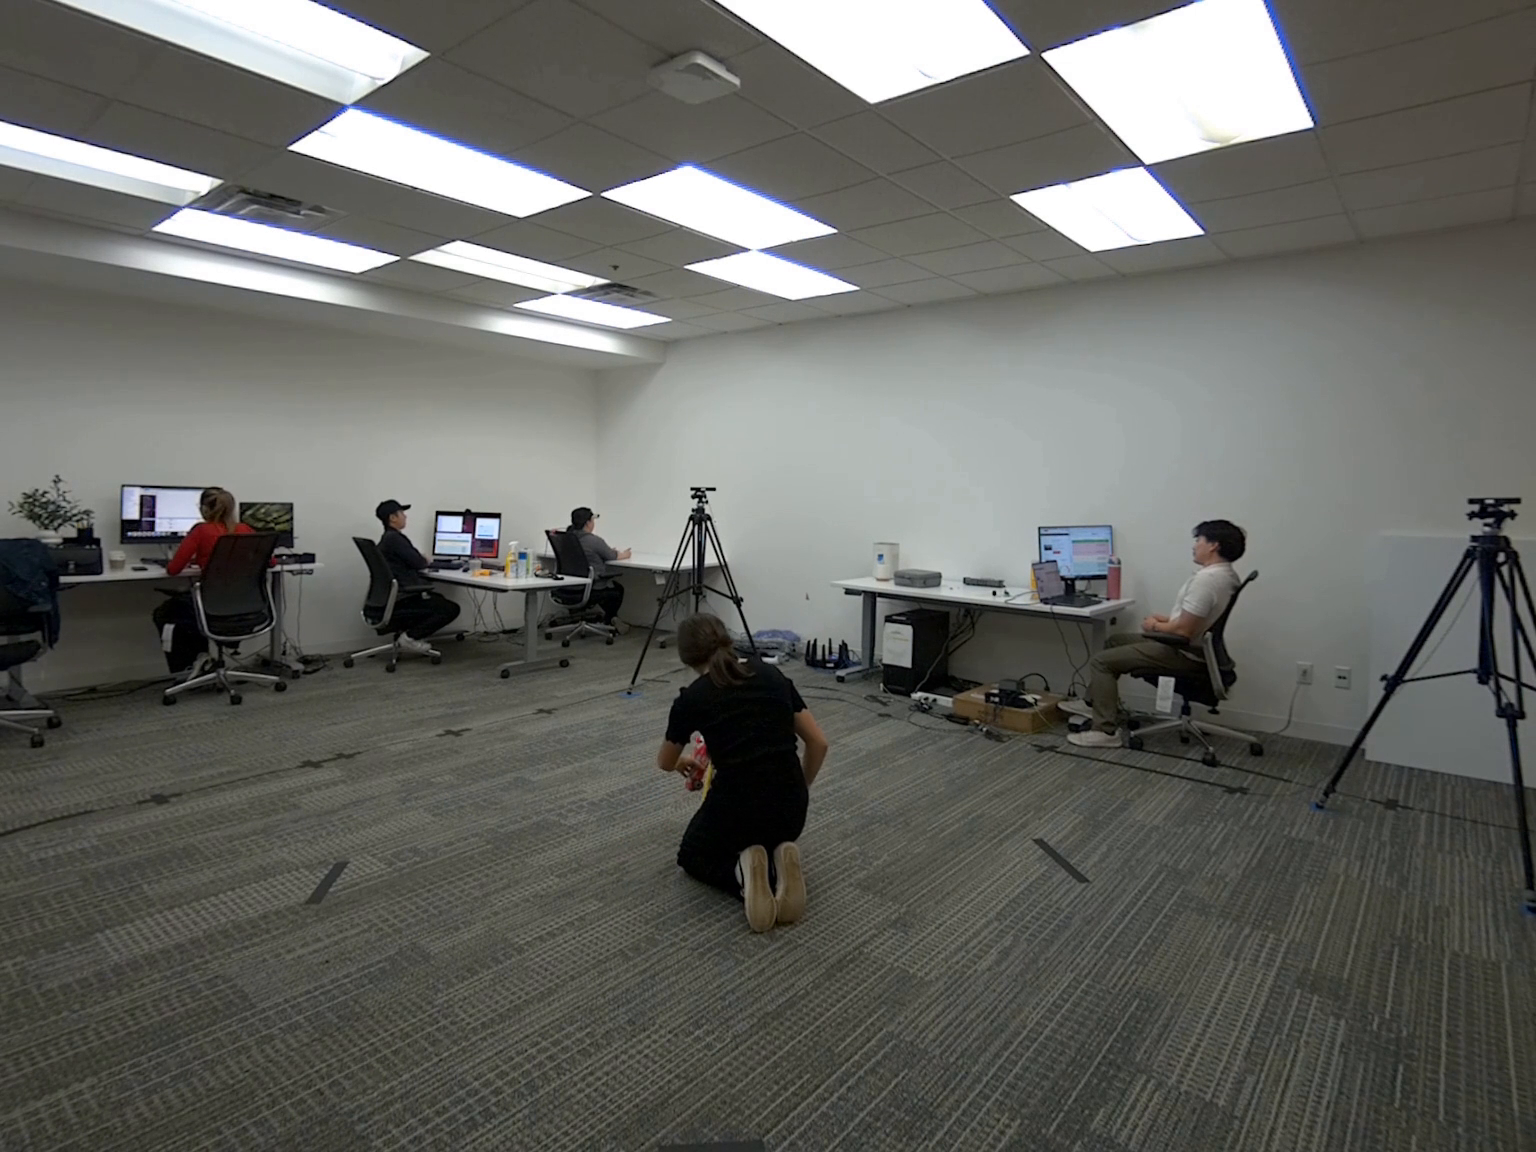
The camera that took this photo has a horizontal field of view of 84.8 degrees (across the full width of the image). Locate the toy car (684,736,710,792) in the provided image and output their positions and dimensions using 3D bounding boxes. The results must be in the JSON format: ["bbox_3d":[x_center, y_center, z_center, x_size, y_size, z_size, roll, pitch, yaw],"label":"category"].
[{"bbox_3d":[-0.270,0.718,3.347,0.082,0.257,0.131,13,-15,-15],"label":"toy car"}]
